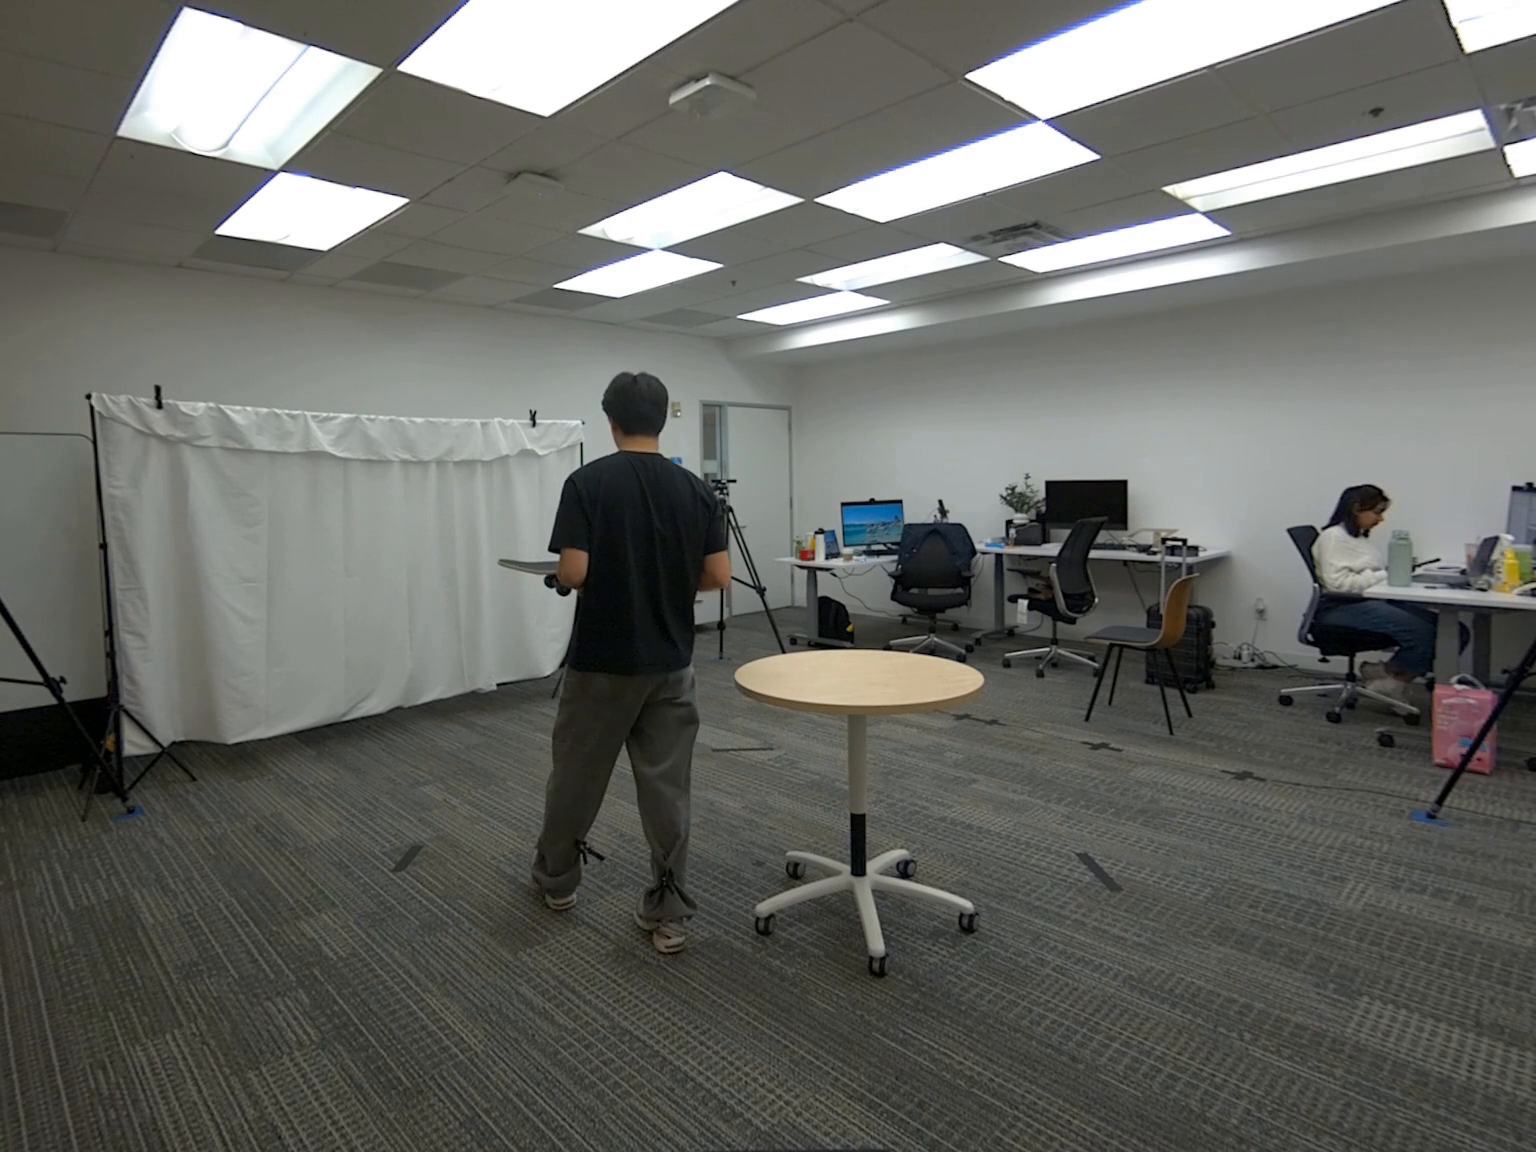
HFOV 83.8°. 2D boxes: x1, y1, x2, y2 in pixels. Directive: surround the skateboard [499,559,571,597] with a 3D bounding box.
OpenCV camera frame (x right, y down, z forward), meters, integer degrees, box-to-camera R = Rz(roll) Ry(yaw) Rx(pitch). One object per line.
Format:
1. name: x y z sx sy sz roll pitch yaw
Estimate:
1. skateboard: -0.539 -0.001 2.936 0.766 0.110 0.199 -2 9 -30
